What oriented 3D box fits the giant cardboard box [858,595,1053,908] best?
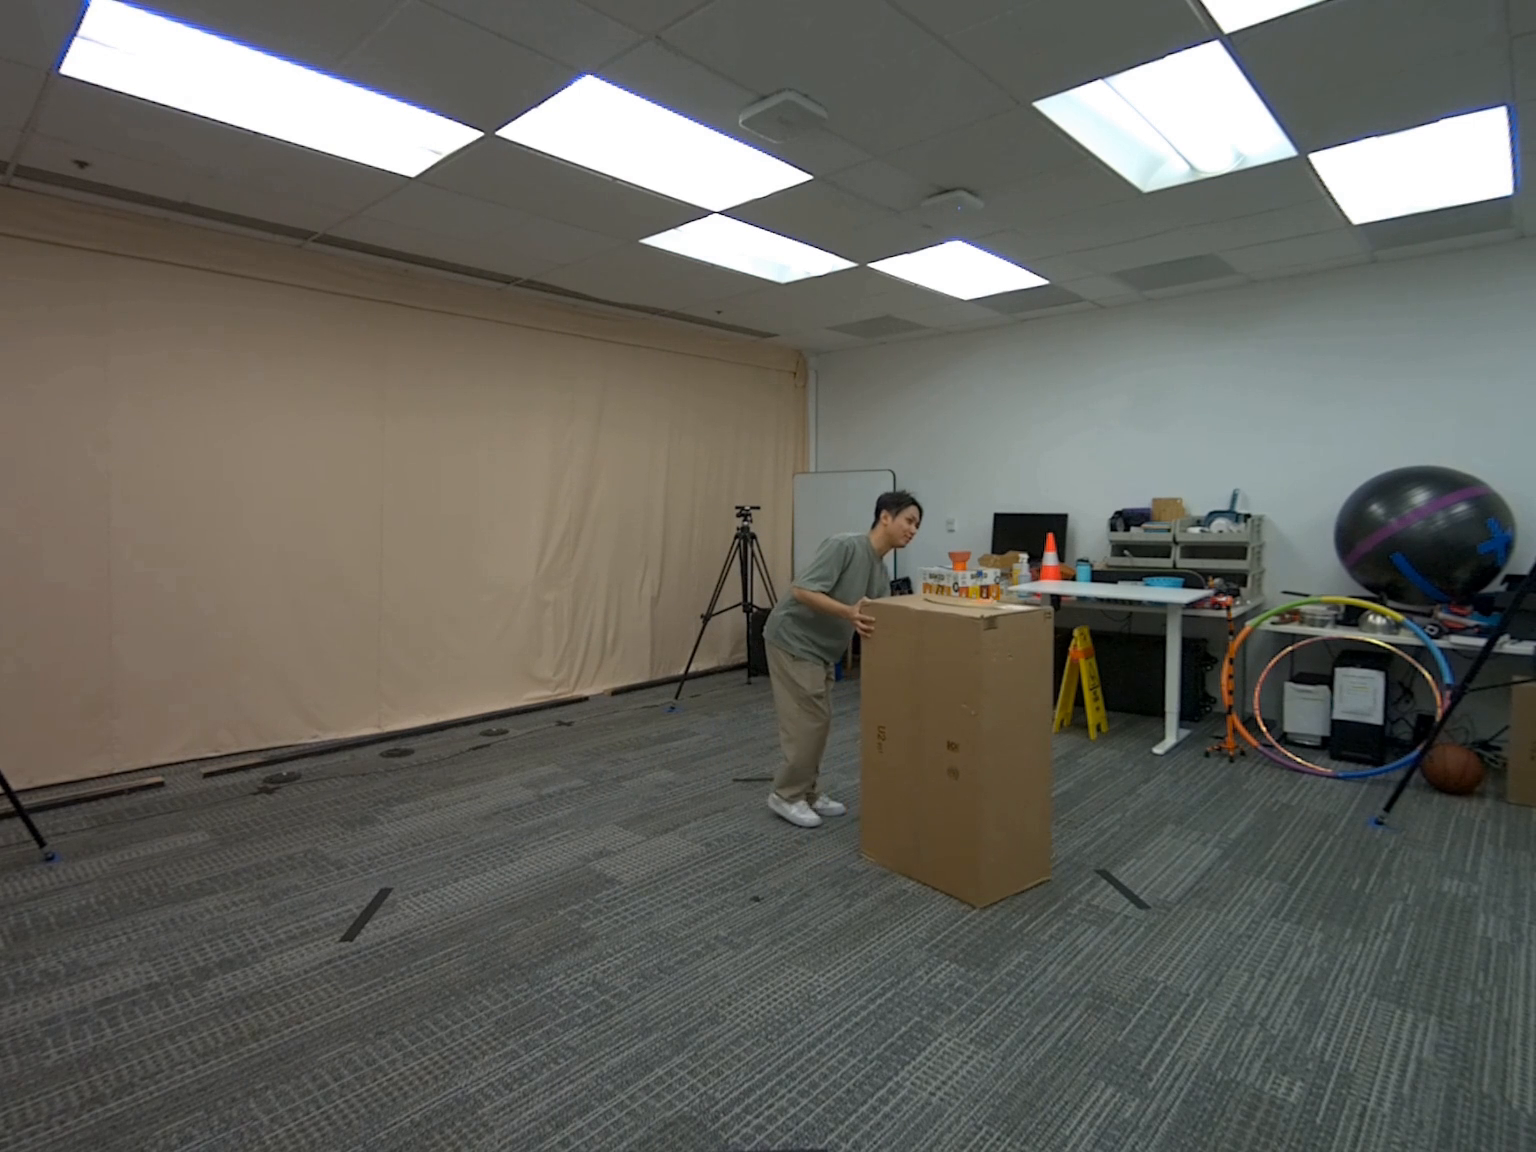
[{"bbox_3d":[0.716,0.616,3.223,0.413,1.024,0.596,-2,4,-38],"label":"giant cardboard box"}]
